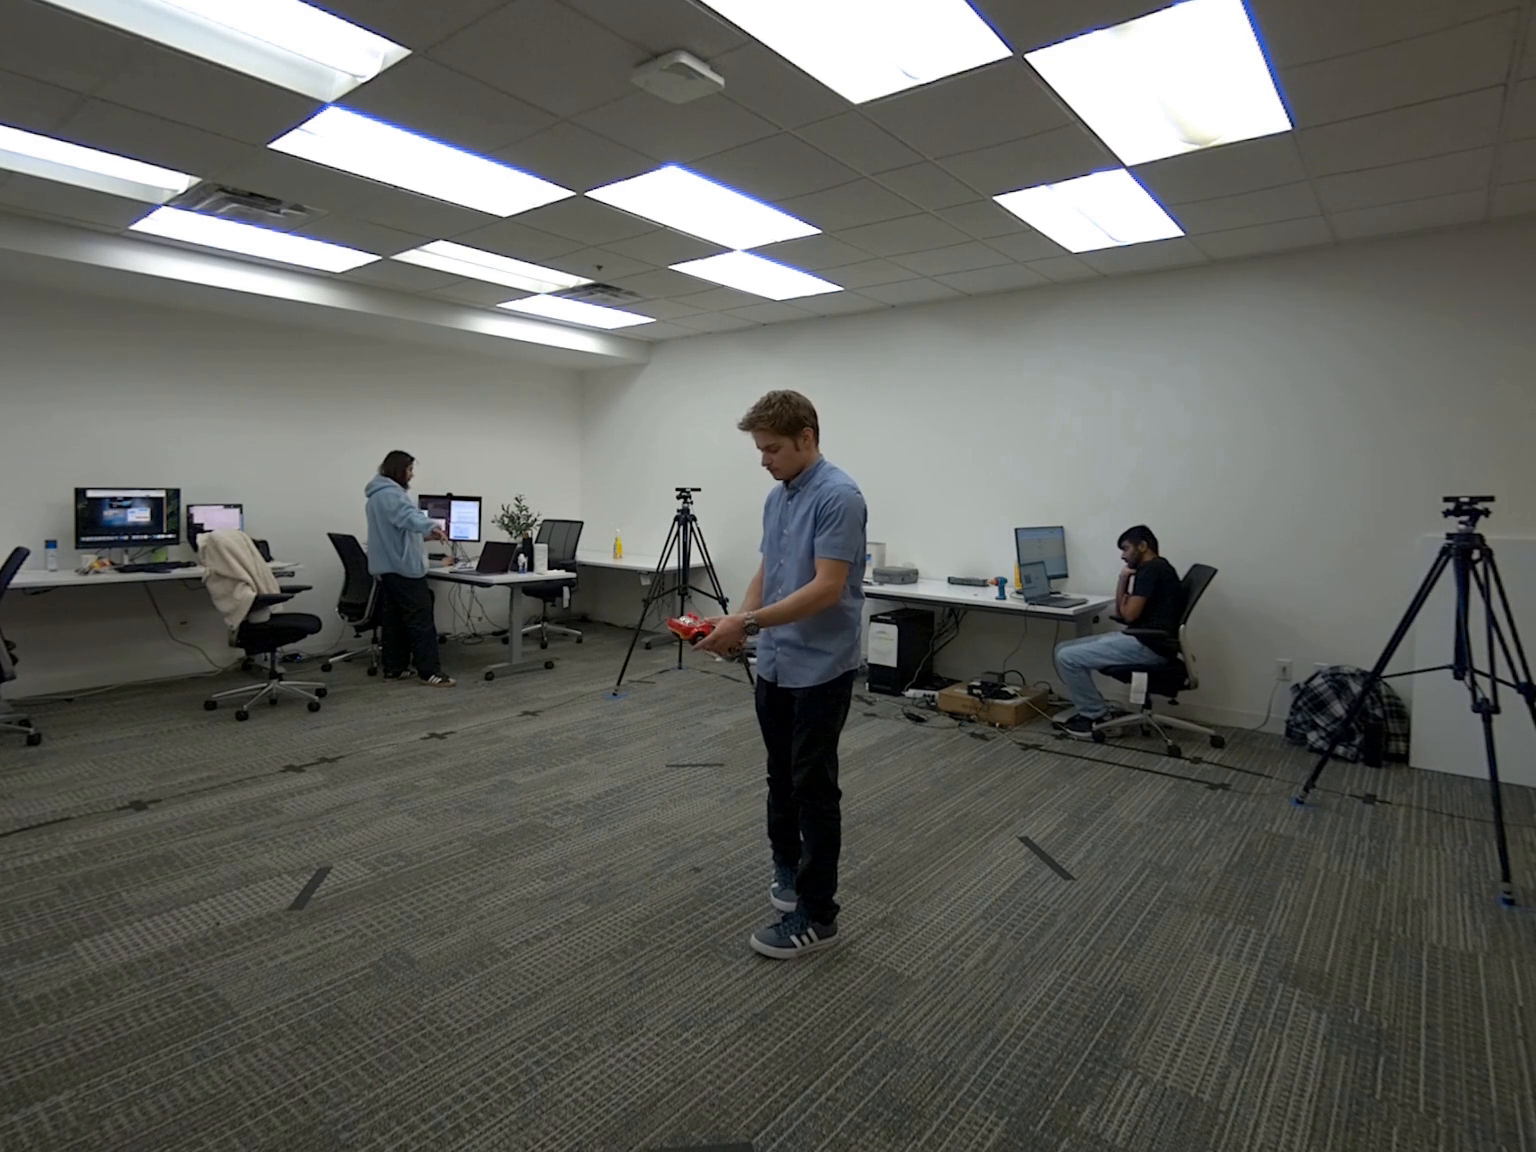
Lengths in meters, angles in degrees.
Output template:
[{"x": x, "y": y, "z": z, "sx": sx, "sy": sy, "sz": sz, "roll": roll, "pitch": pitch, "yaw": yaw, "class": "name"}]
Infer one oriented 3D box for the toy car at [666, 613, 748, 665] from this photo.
[{"x": -0.199, "y": 0.172, "z": 2.537, "sx": 0.244, "sy": 0.083, "sz": 0.135, "roll": 32, "pitch": -10, "yaw": -39, "class": "toy car"}]
